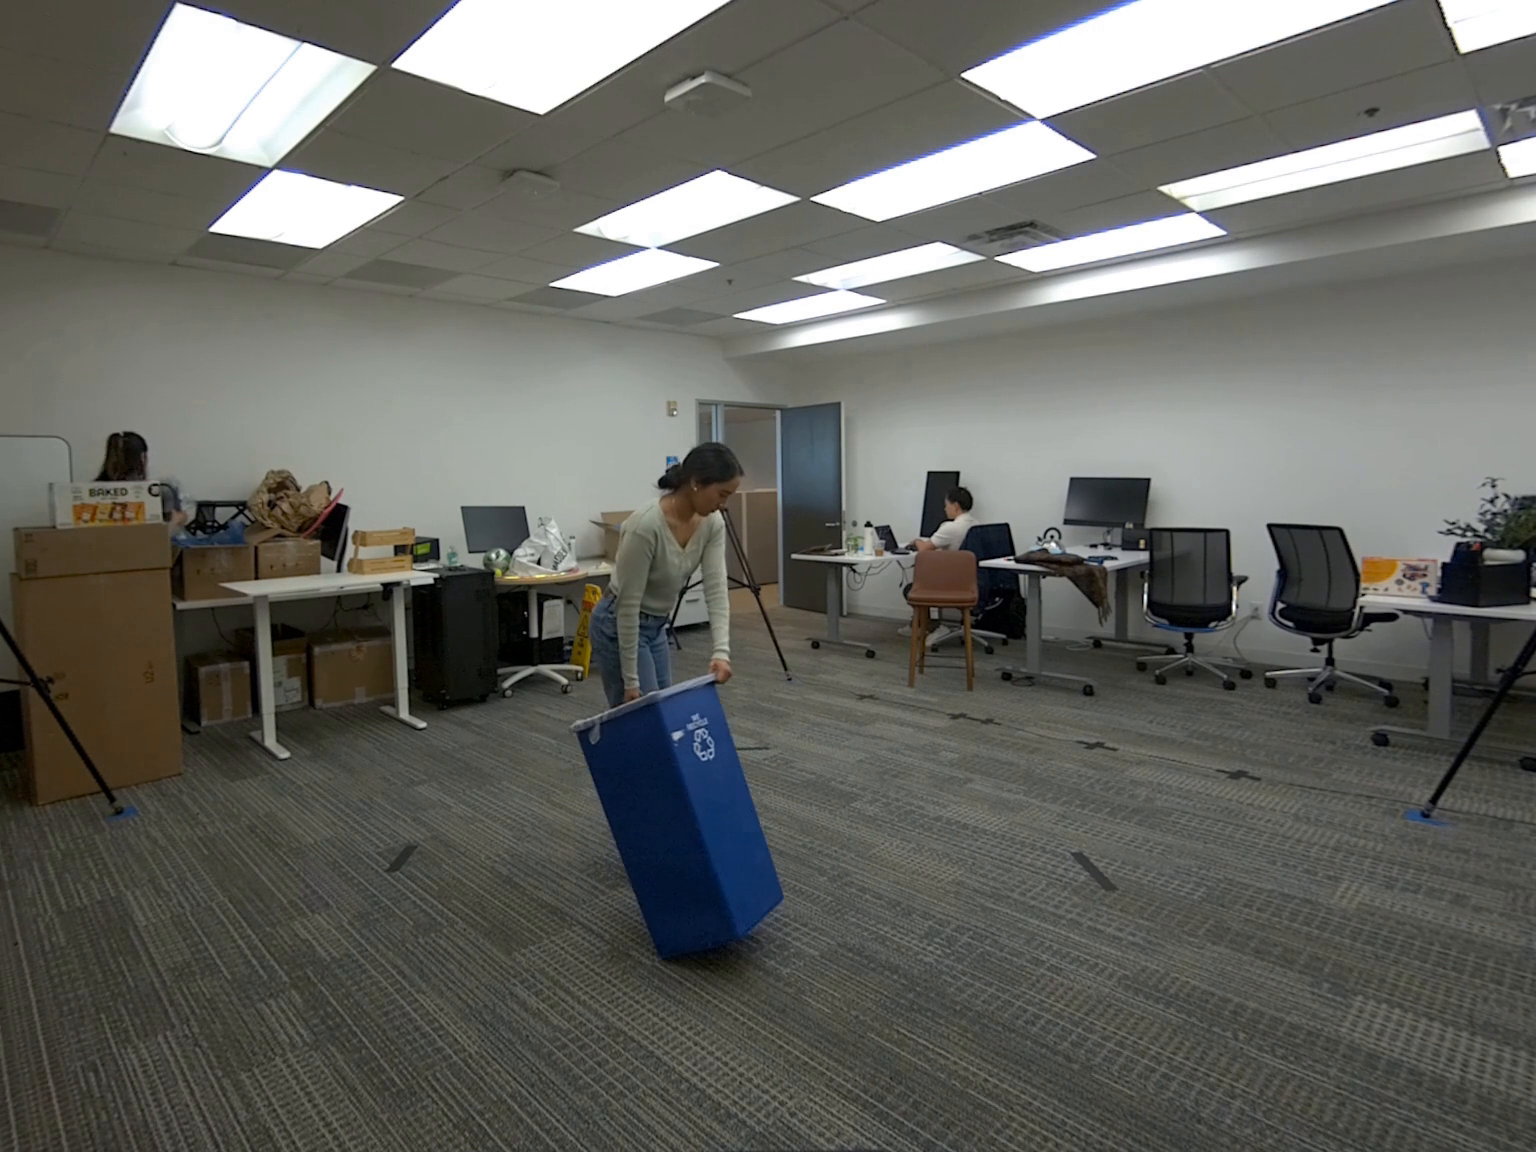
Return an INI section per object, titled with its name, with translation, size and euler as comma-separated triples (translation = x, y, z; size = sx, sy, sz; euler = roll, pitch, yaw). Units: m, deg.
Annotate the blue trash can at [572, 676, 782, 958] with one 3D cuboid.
[blue trash can]
translation = -0.257, 0.717, 2.619
size = 0.382, 0.722, 0.365
euler = -25, -10, 27
